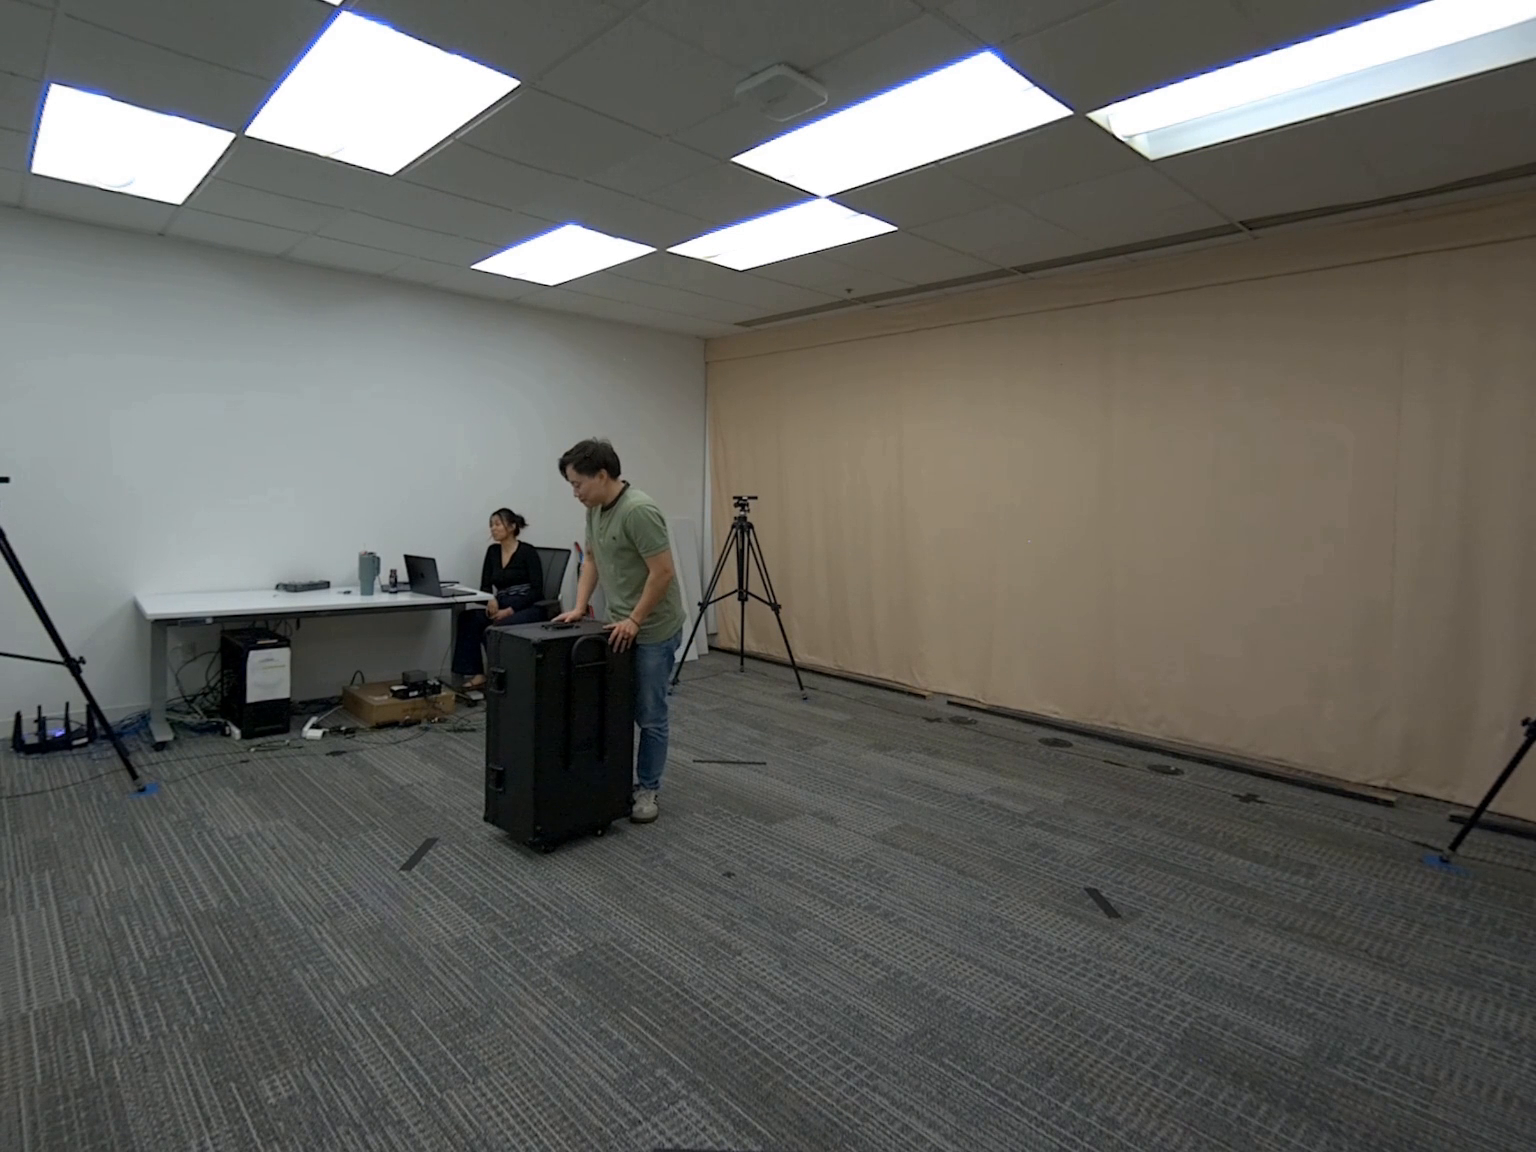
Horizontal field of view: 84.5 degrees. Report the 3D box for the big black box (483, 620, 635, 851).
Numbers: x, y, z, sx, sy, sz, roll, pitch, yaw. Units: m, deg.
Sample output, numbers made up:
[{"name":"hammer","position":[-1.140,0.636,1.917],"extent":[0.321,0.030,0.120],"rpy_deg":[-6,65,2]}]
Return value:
[{"name":"big black box","position":[-0.845,0.637,3.404],"extent":[0.406,0.859,0.509],"rpy_deg":[6,6,42]}]
